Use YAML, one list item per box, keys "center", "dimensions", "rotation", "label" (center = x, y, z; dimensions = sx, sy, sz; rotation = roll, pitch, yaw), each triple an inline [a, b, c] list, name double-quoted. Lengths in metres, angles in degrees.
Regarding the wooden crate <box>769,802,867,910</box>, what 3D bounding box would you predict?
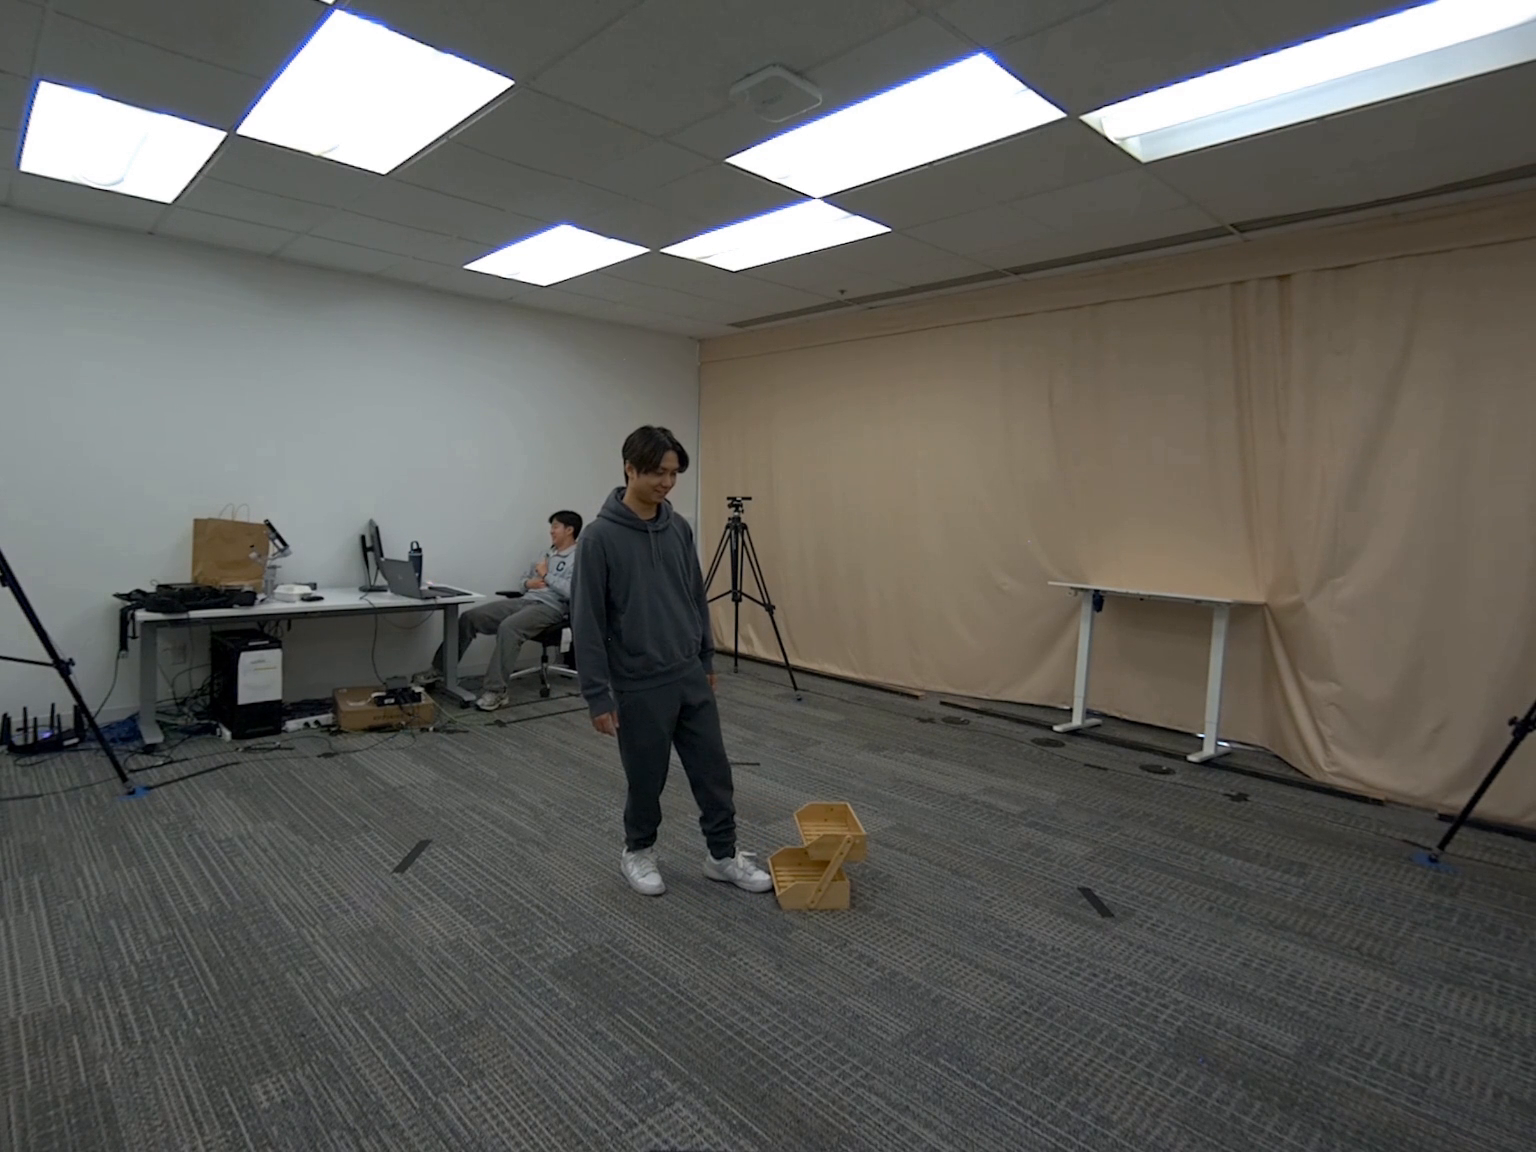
- center: [0.156, 0.987, 3.005]
  dimensions: [0.301, 0.272, 0.327]
  rotation: [2, 4, -6]
  label: "wooden crate"
